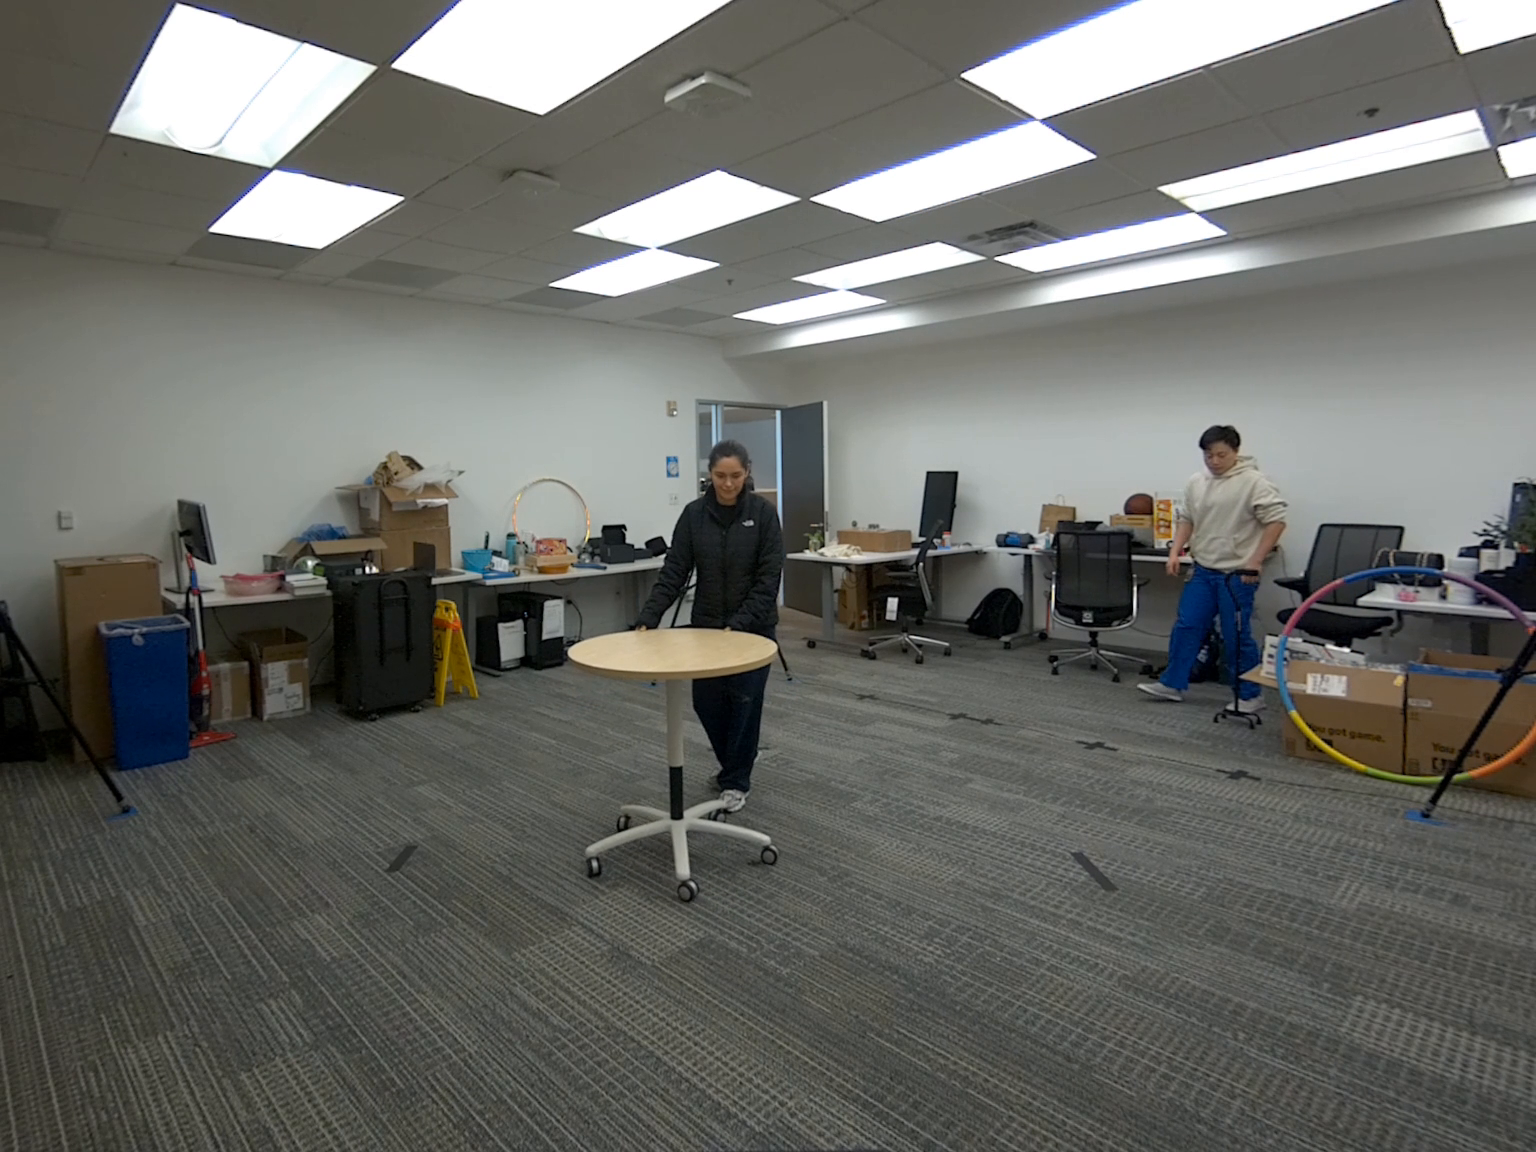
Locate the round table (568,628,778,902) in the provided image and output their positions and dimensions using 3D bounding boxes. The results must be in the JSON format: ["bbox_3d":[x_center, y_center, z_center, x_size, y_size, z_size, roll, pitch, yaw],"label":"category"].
[{"bbox_3d":[-0.332,0.649,3.176,0.784,0.783,0.789,-1,6,-2],"label":"round table"}]
